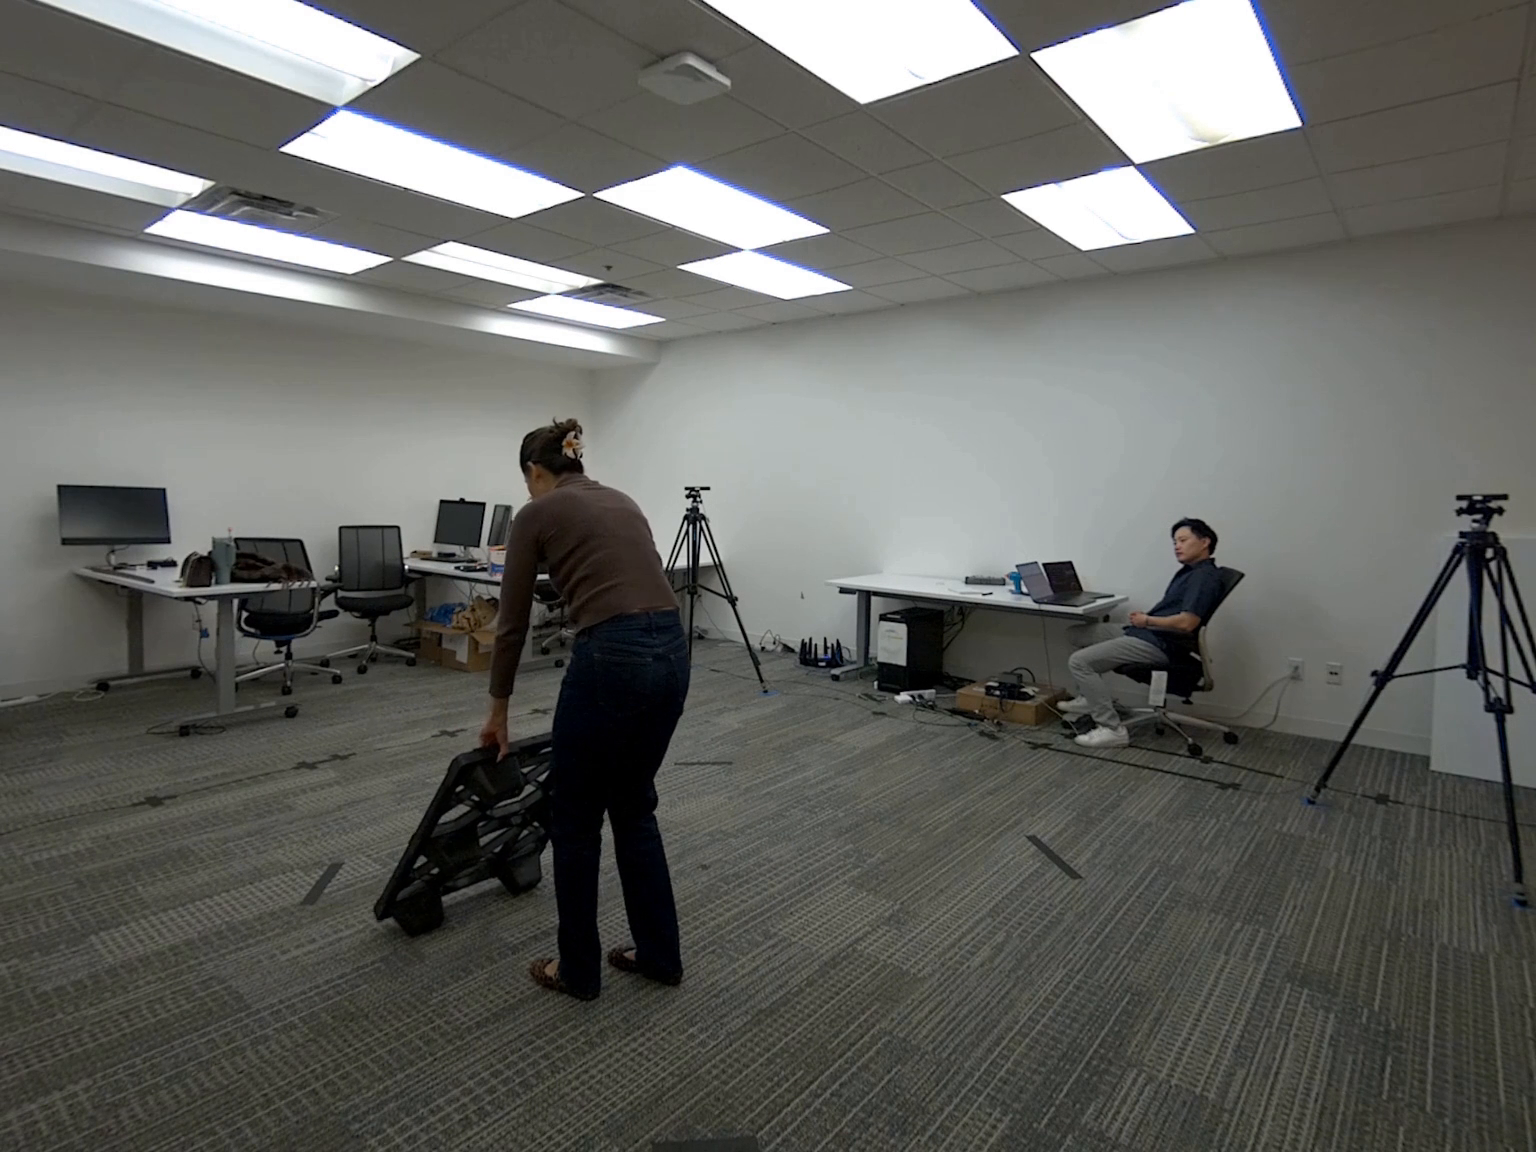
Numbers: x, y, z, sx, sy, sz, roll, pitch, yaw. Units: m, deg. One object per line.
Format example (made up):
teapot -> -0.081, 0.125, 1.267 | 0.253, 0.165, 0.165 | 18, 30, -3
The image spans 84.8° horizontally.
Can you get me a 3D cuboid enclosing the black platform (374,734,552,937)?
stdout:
black platform -> -0.819, 0.781, 2.633 | 0.588, 0.801, 0.148 | -7, 49, -50
